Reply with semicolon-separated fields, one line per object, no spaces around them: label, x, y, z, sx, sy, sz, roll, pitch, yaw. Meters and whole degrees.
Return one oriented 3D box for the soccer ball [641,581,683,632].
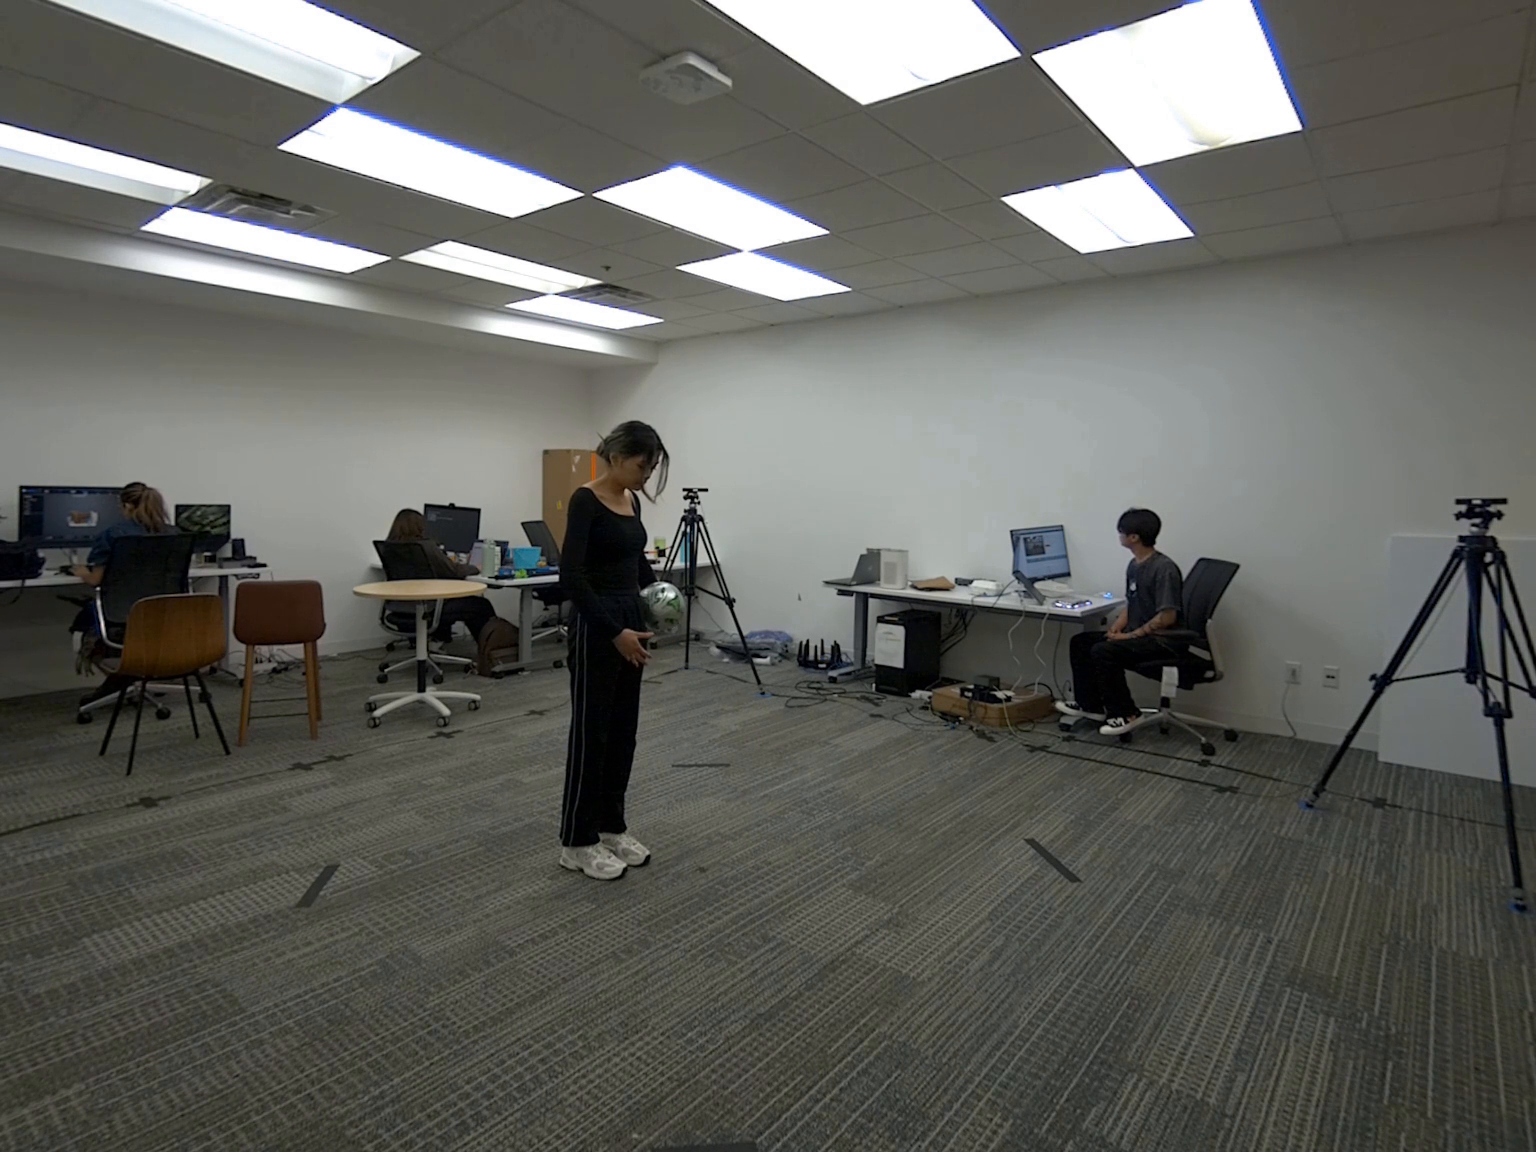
soccer ball;-0.431;0.115;3.285;0.187;0.187;0.188;1;4;-2
